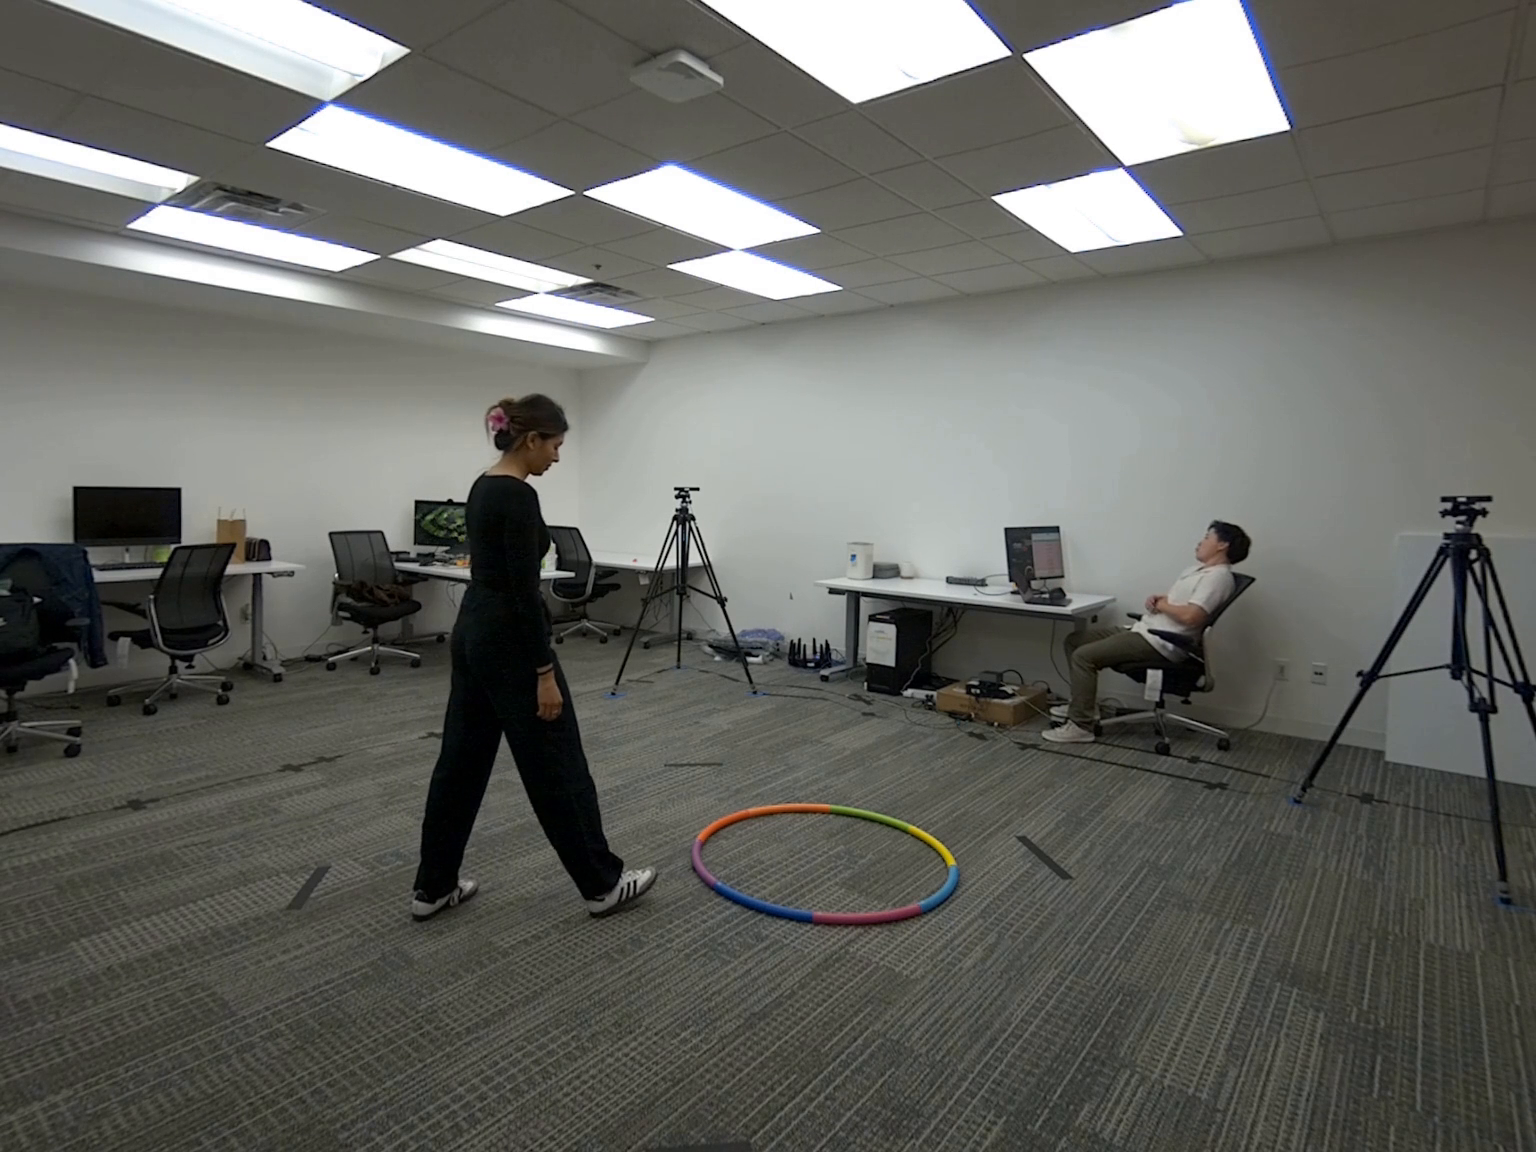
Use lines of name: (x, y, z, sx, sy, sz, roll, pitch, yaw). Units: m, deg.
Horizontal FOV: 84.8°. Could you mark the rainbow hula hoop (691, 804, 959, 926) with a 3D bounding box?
rainbow hula hoop: (0.195, 1.035, 3.200, 0.978, 0.035, 0.984, 1, 6, -2)
